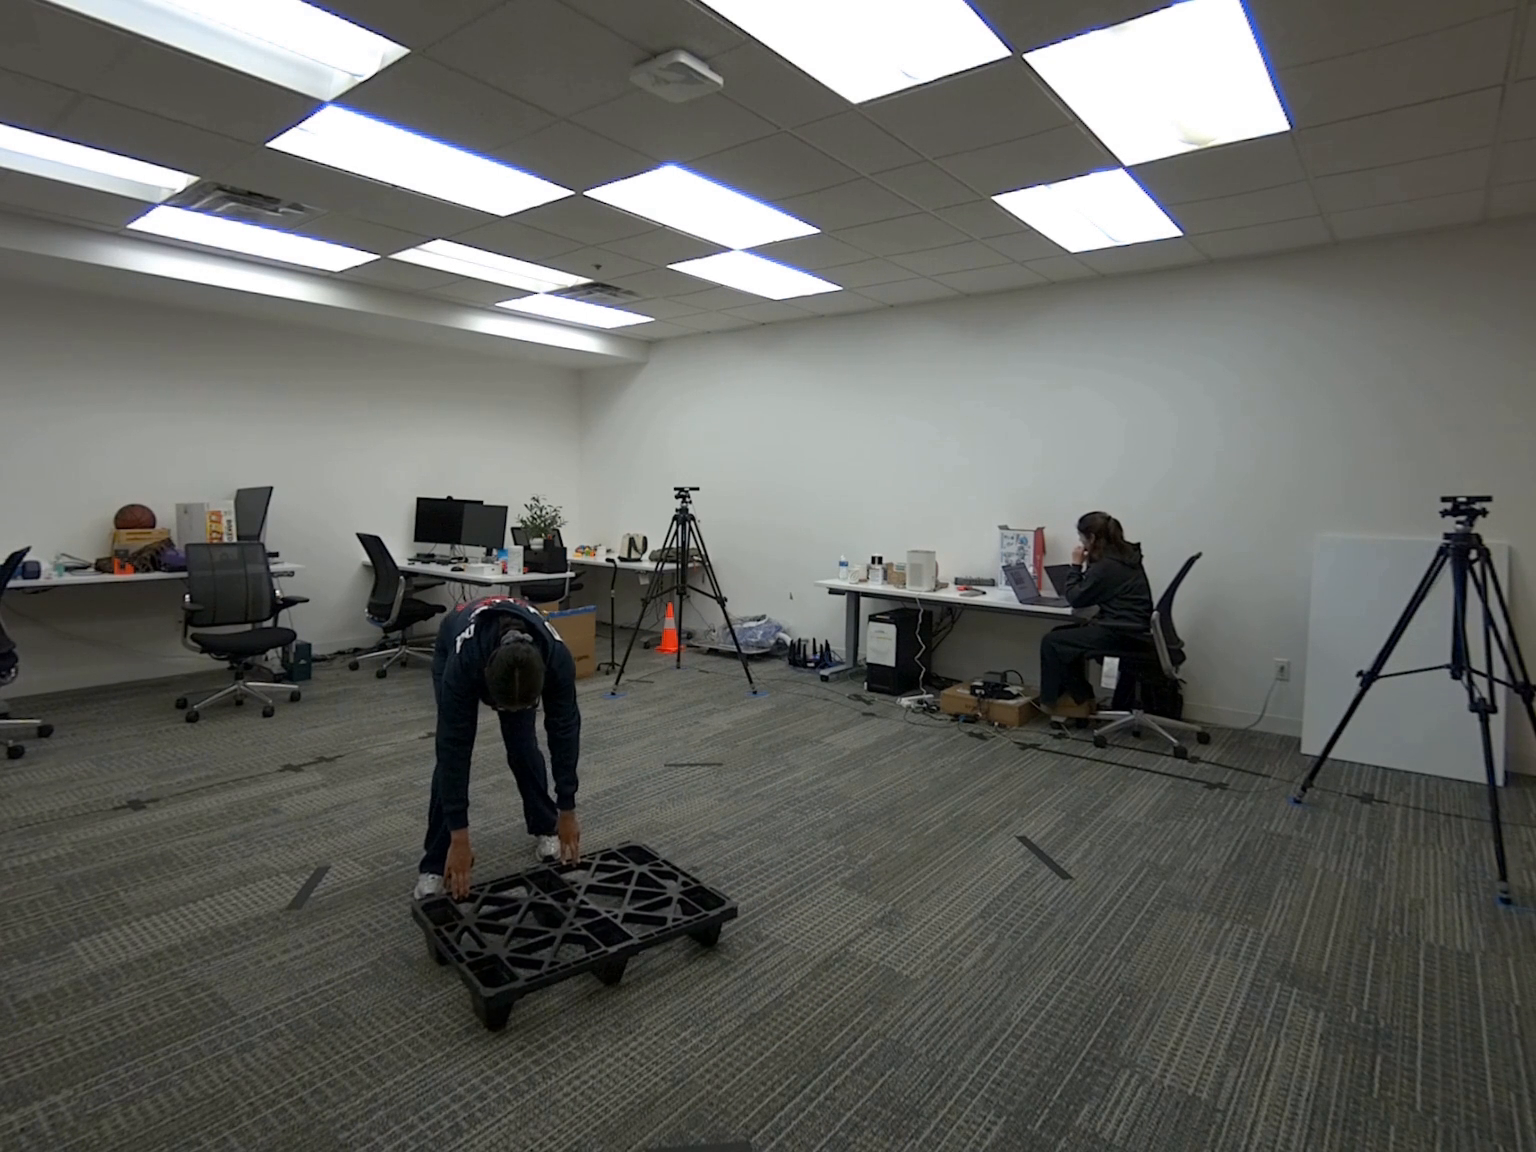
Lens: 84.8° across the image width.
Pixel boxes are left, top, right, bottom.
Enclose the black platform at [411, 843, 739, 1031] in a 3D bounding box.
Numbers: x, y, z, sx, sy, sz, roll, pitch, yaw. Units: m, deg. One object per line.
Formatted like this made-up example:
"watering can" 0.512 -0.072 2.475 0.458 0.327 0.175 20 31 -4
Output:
"black platform" -0.592 1.050 2.561 0.782 0.143 0.625 -4 7 -39
